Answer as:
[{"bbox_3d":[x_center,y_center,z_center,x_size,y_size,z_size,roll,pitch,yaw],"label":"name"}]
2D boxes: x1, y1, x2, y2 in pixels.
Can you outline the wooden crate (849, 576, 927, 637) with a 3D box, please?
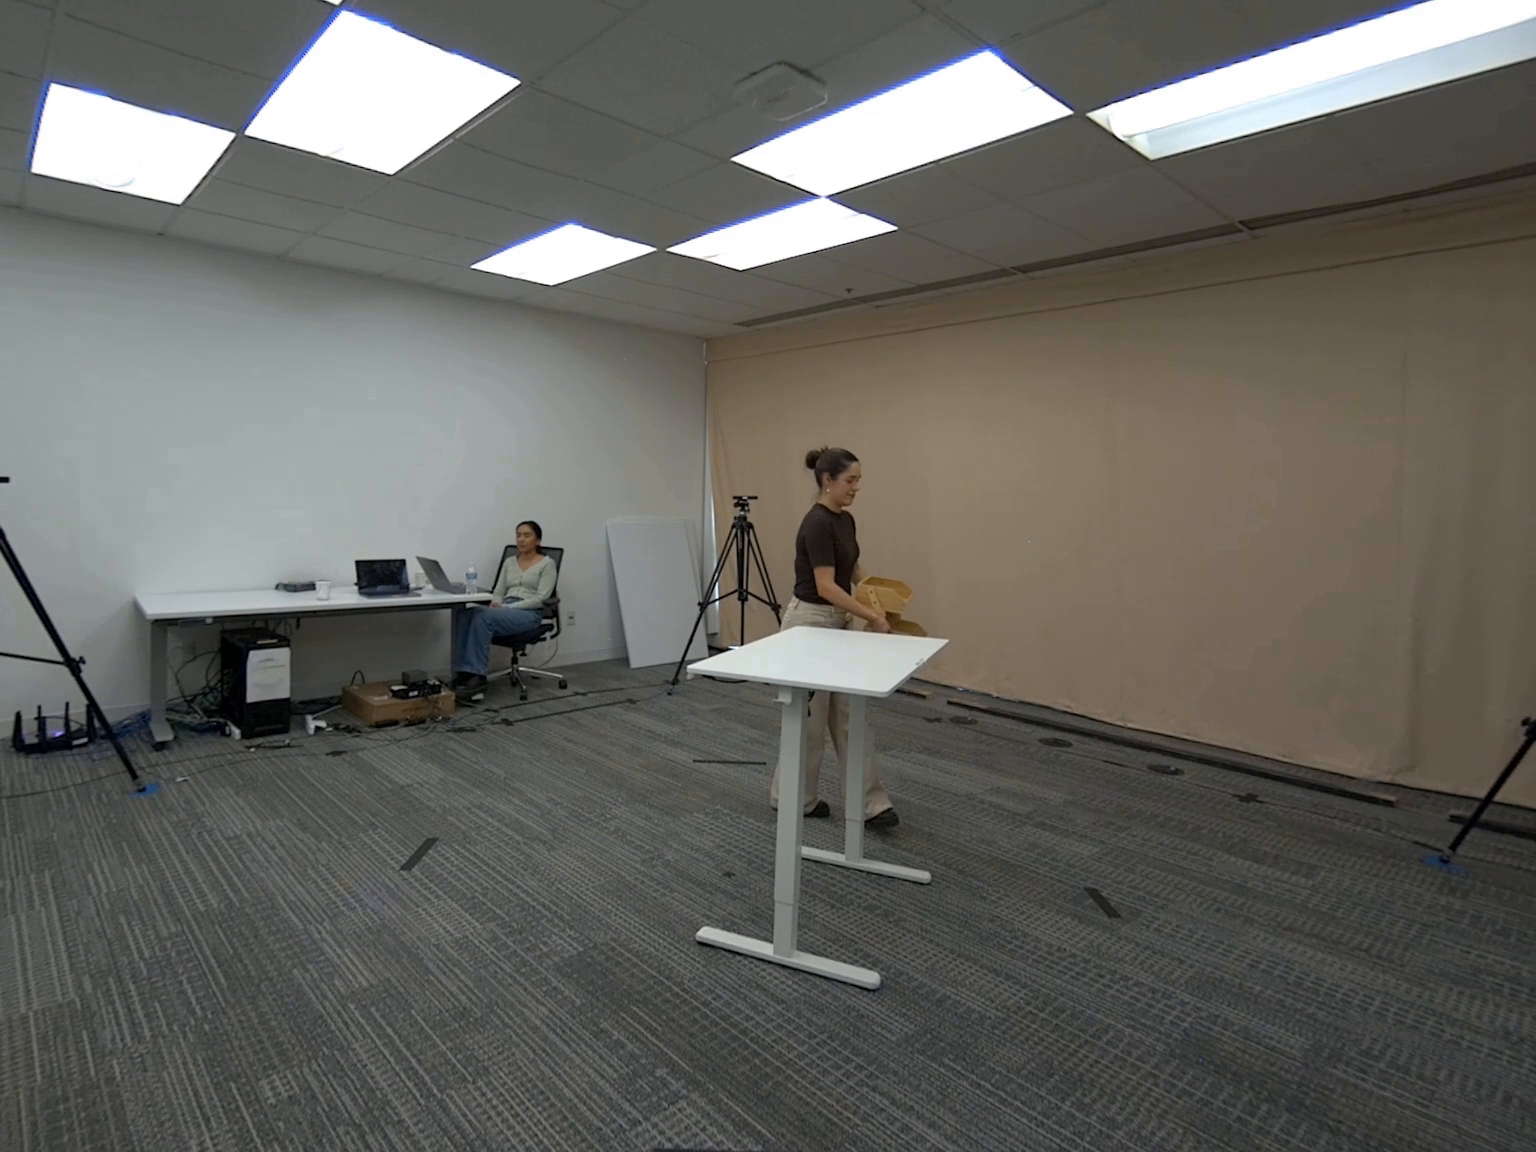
[{"bbox_3d":[0.530,0.159,3.585,0.306,0.272,0.321,9,8,15],"label":"wooden crate"}]
